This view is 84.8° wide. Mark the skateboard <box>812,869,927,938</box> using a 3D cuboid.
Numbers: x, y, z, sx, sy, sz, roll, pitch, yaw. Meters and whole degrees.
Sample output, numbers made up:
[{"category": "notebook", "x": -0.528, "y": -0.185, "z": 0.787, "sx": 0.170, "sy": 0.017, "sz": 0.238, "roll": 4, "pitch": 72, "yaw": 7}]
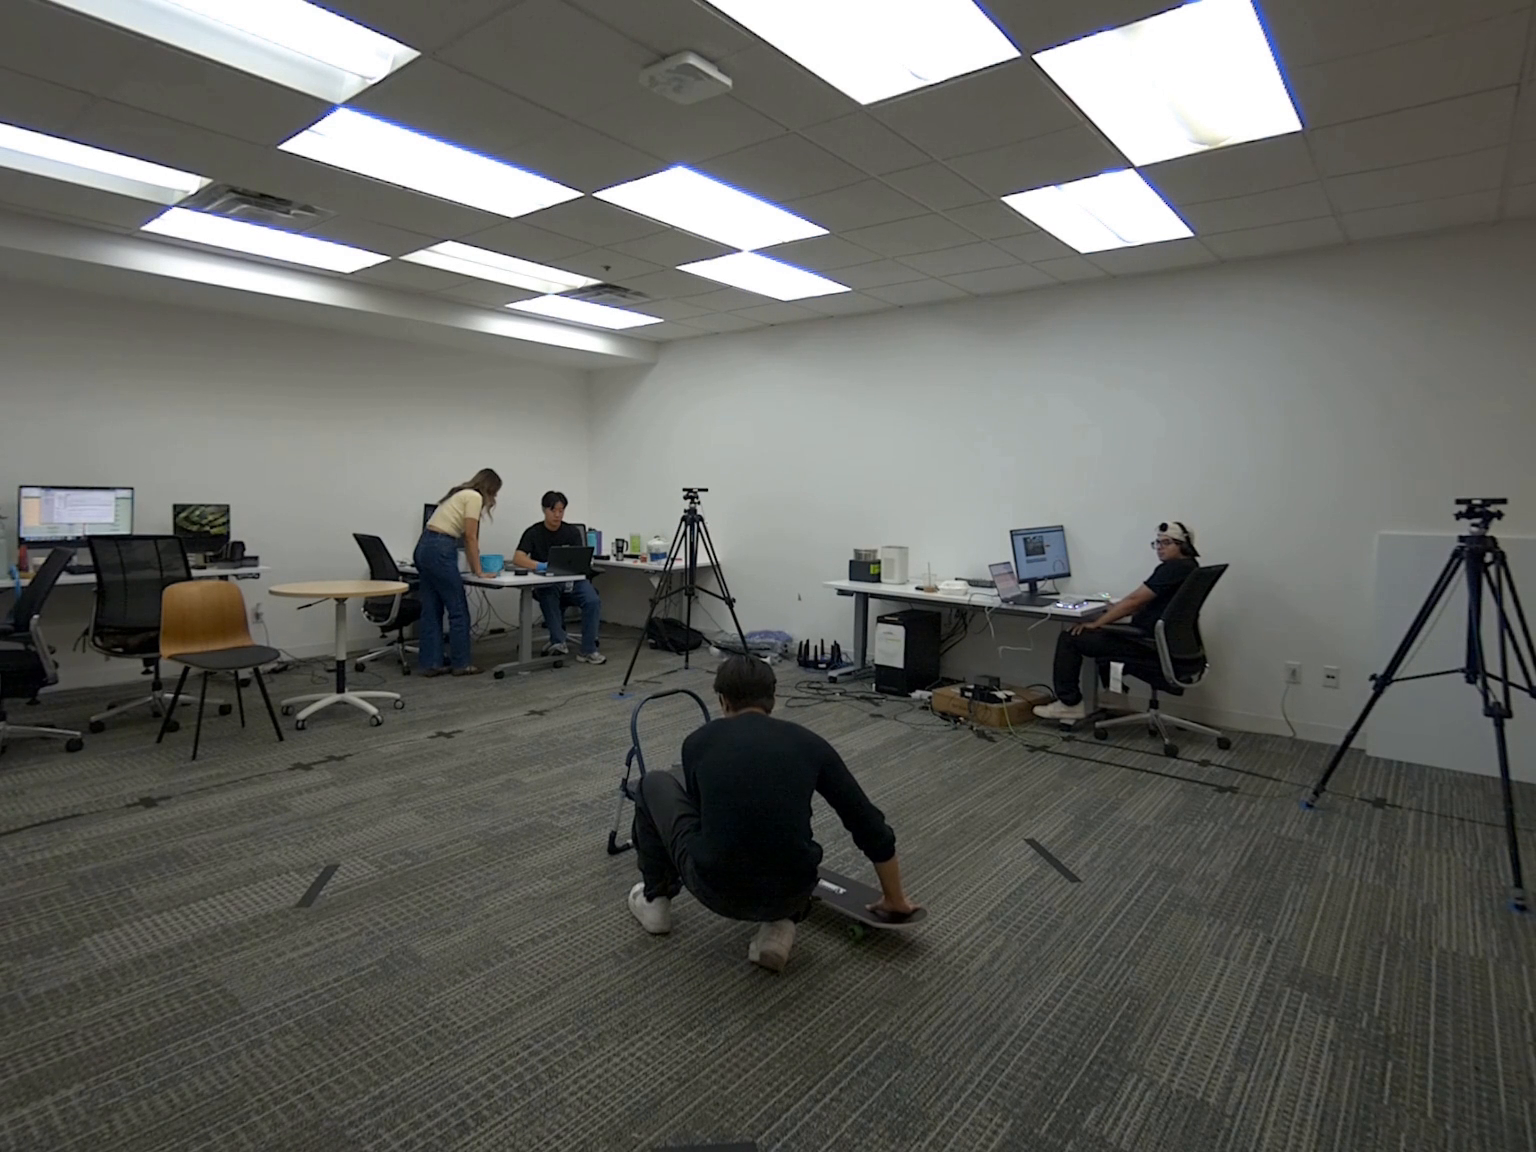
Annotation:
[{"category": "skateboard", "x": 0.159, "y": 1.046, "z": 2.834, "sx": 0.813, "sy": 0.110, "sz": 0.187, "roll": 7, "pitch": 7, "yaw": 42}]
